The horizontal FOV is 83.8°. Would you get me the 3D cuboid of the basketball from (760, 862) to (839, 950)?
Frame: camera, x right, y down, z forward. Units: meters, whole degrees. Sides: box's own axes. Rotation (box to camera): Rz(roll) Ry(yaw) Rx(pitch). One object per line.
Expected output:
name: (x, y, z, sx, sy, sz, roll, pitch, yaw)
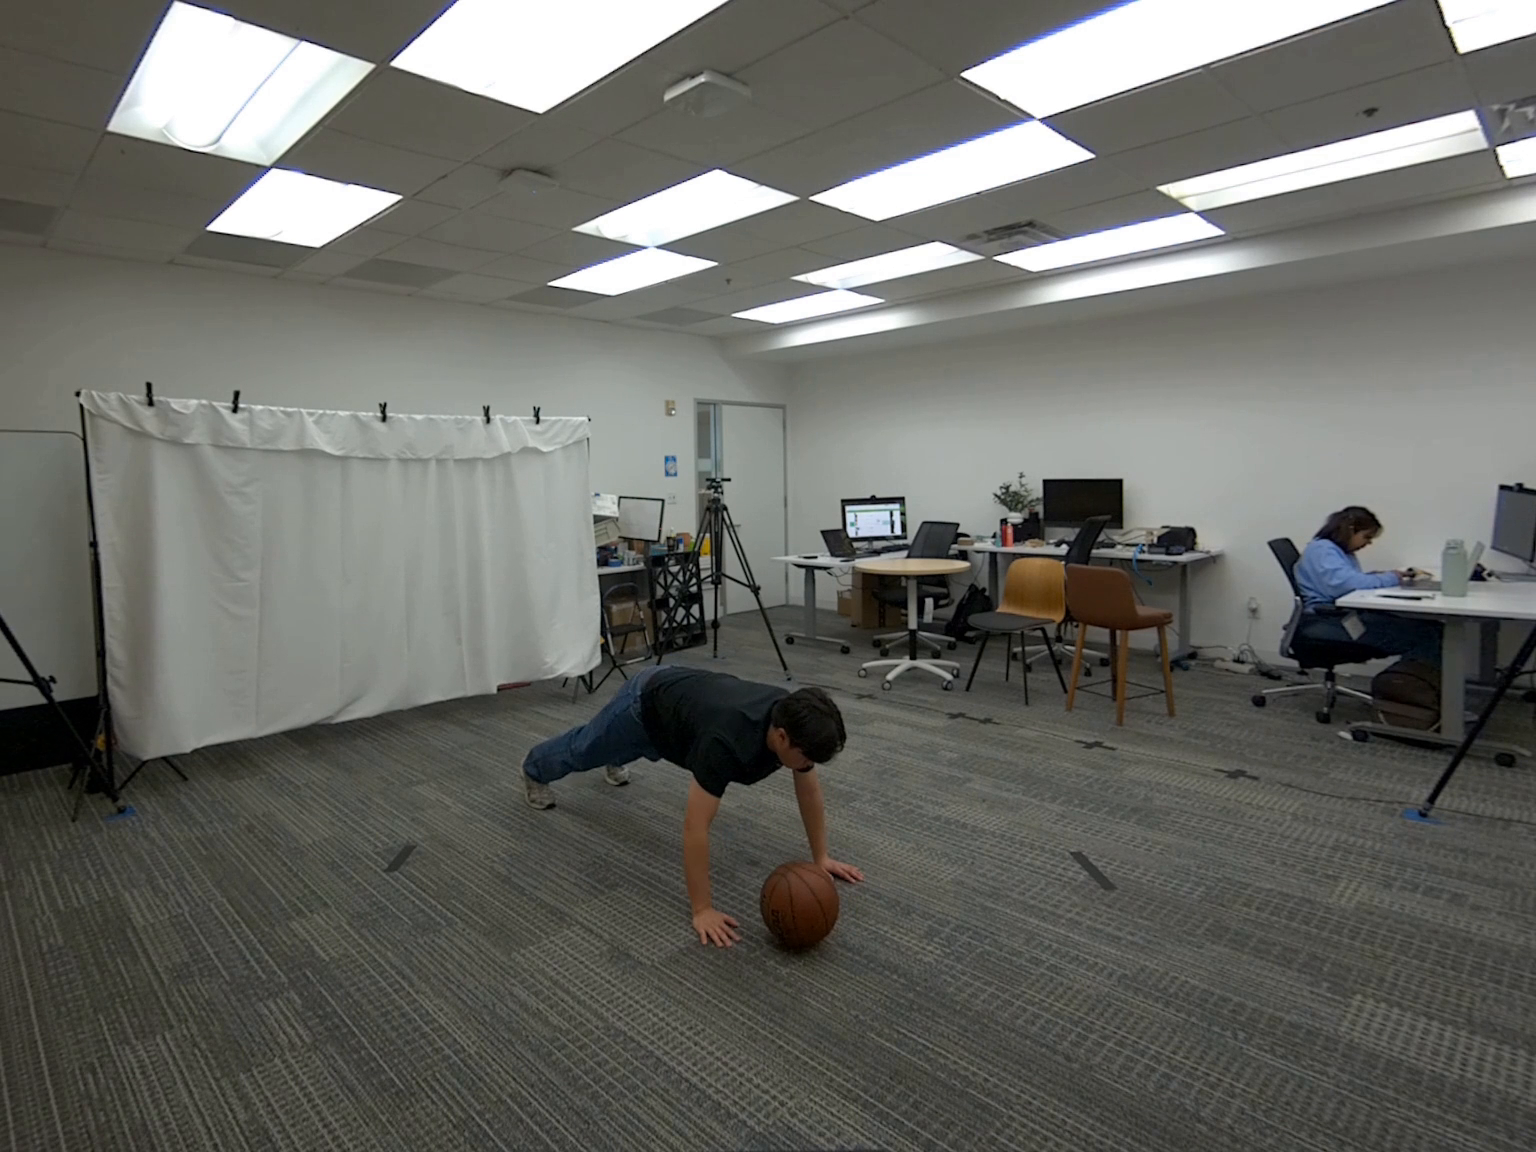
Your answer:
basketball: (0.101, 0.980, 2.566, 0.236, 0.235, 0.237, -1, 5, -2)
